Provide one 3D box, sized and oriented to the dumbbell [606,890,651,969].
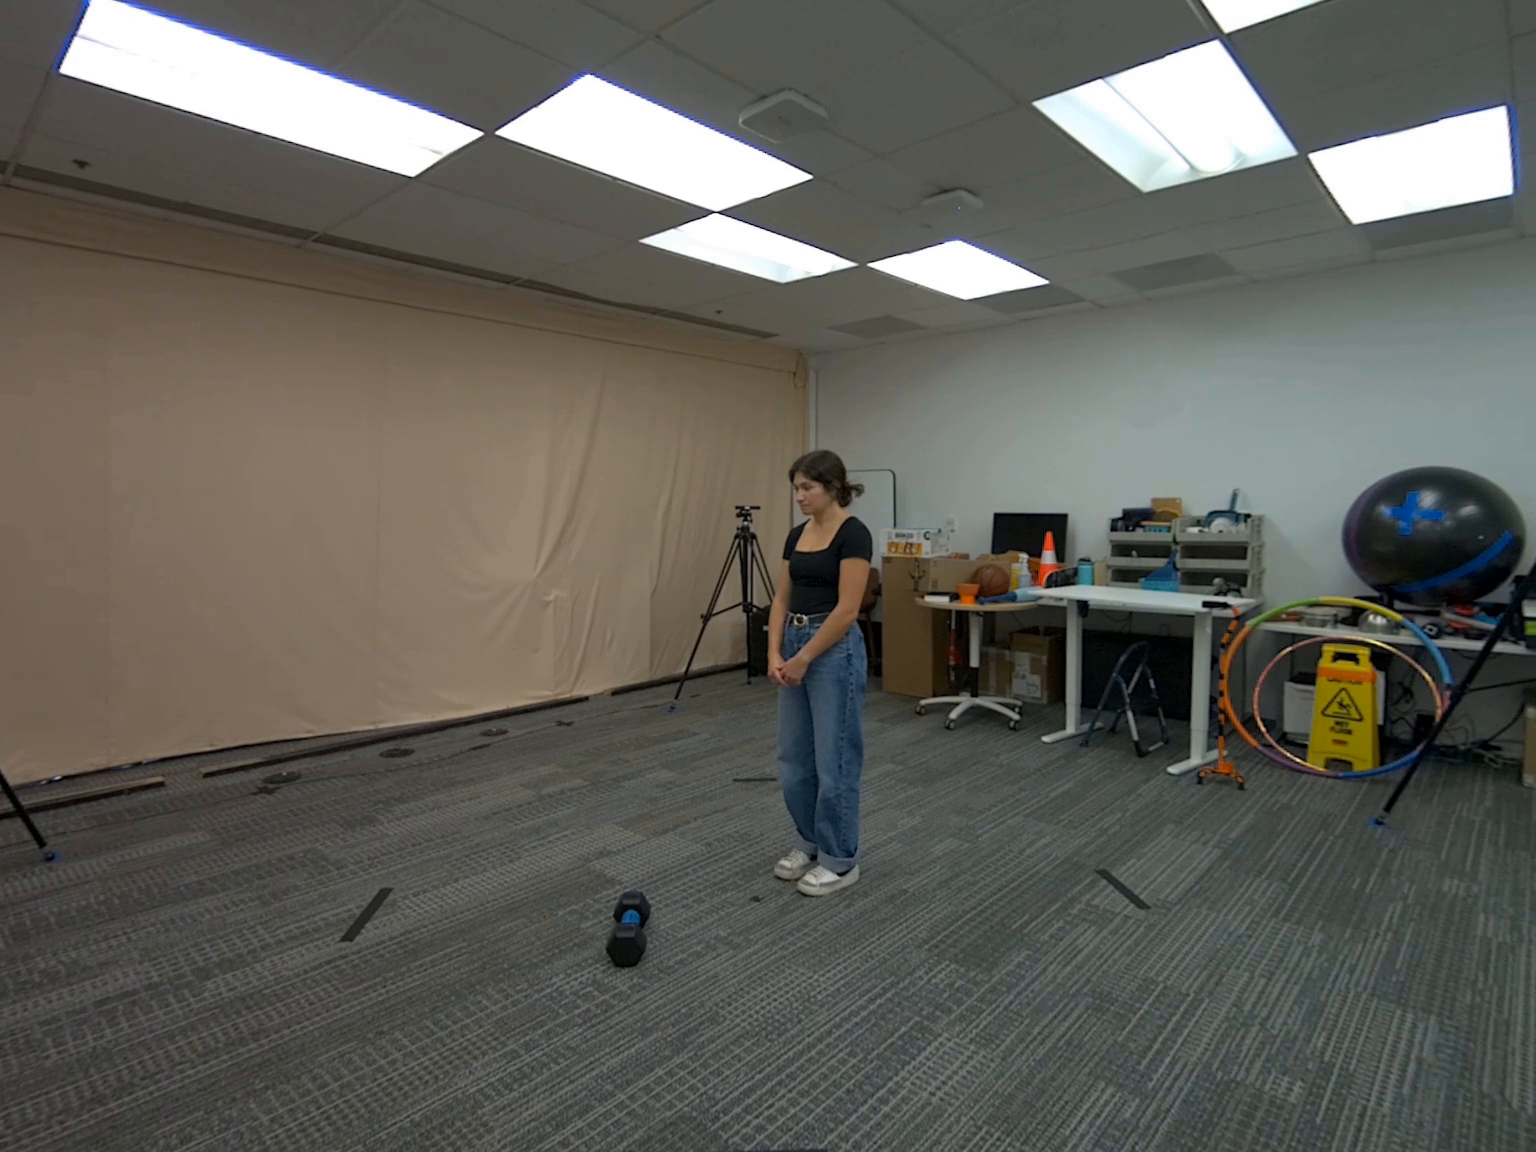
[{"bbox_3d":[-0.441,1.120,2.676,0.108,0.123,0.295,31,1,-6],"label":"dumbbell"}]
